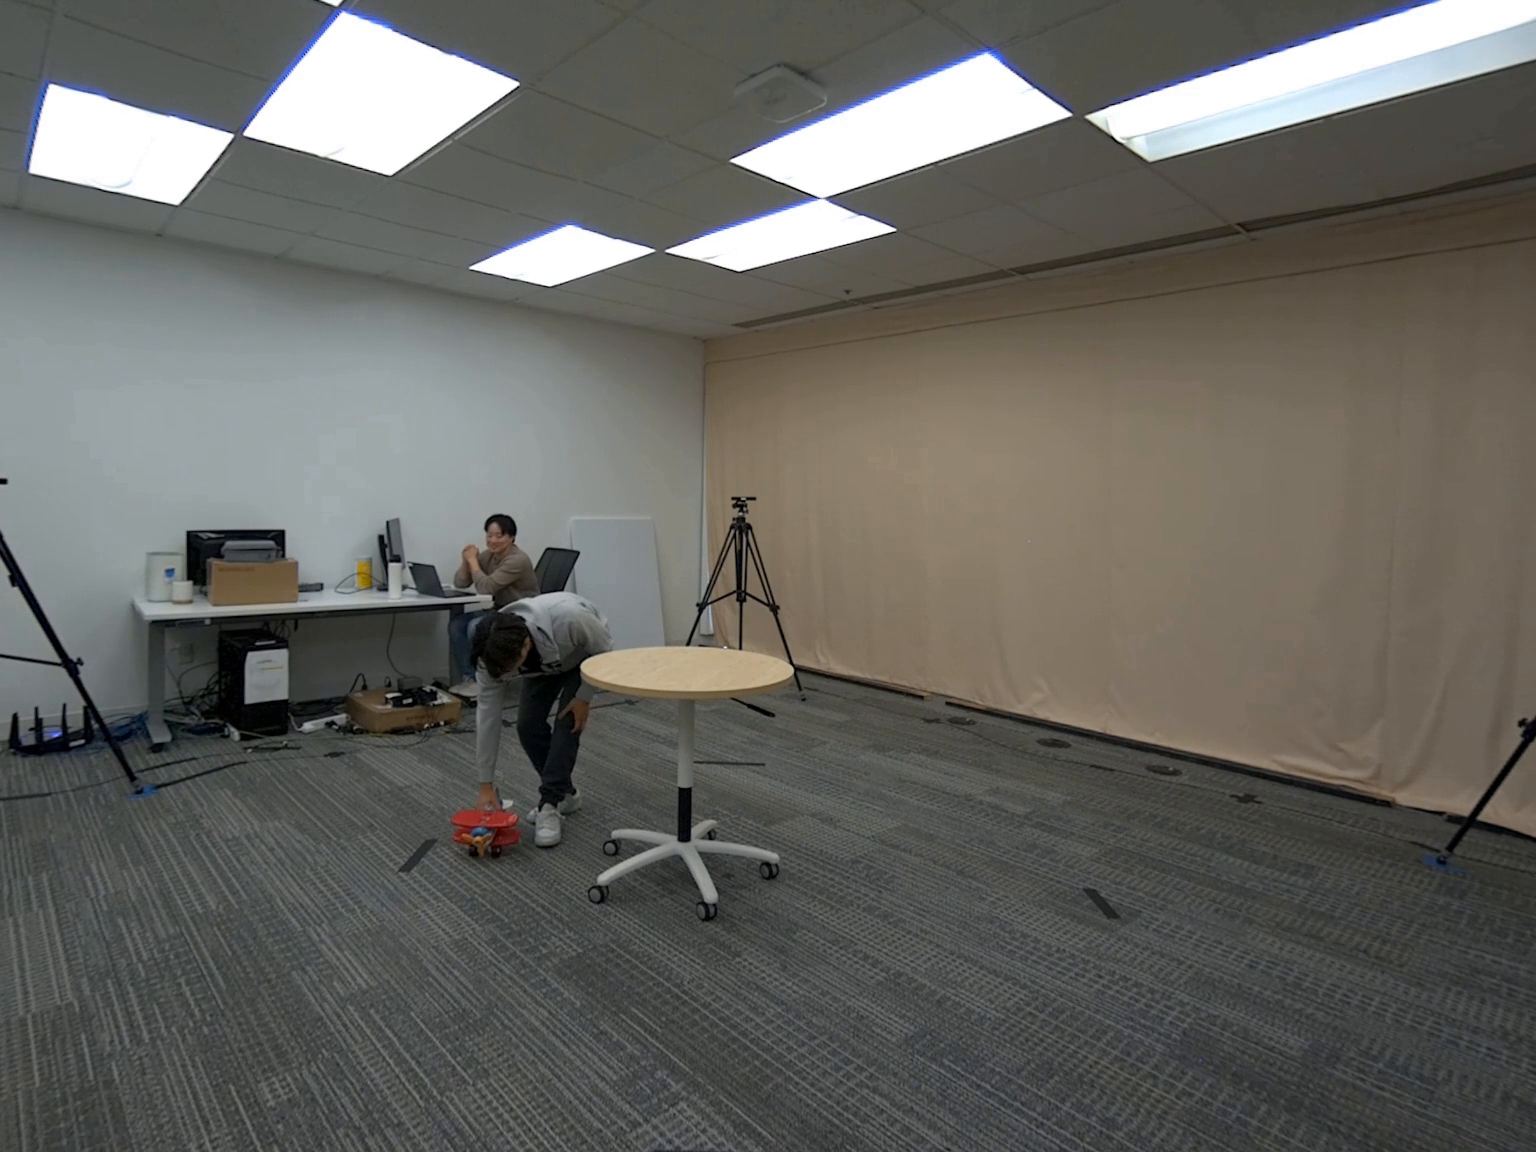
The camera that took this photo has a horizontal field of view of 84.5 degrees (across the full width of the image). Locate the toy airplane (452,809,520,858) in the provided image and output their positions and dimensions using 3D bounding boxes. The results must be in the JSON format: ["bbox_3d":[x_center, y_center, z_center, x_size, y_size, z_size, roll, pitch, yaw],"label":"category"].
[{"bbox_3d":[-1.119,0.967,3.273,0.248,0.153,0.267,-17,39,-19],"label":"toy airplane"}]
